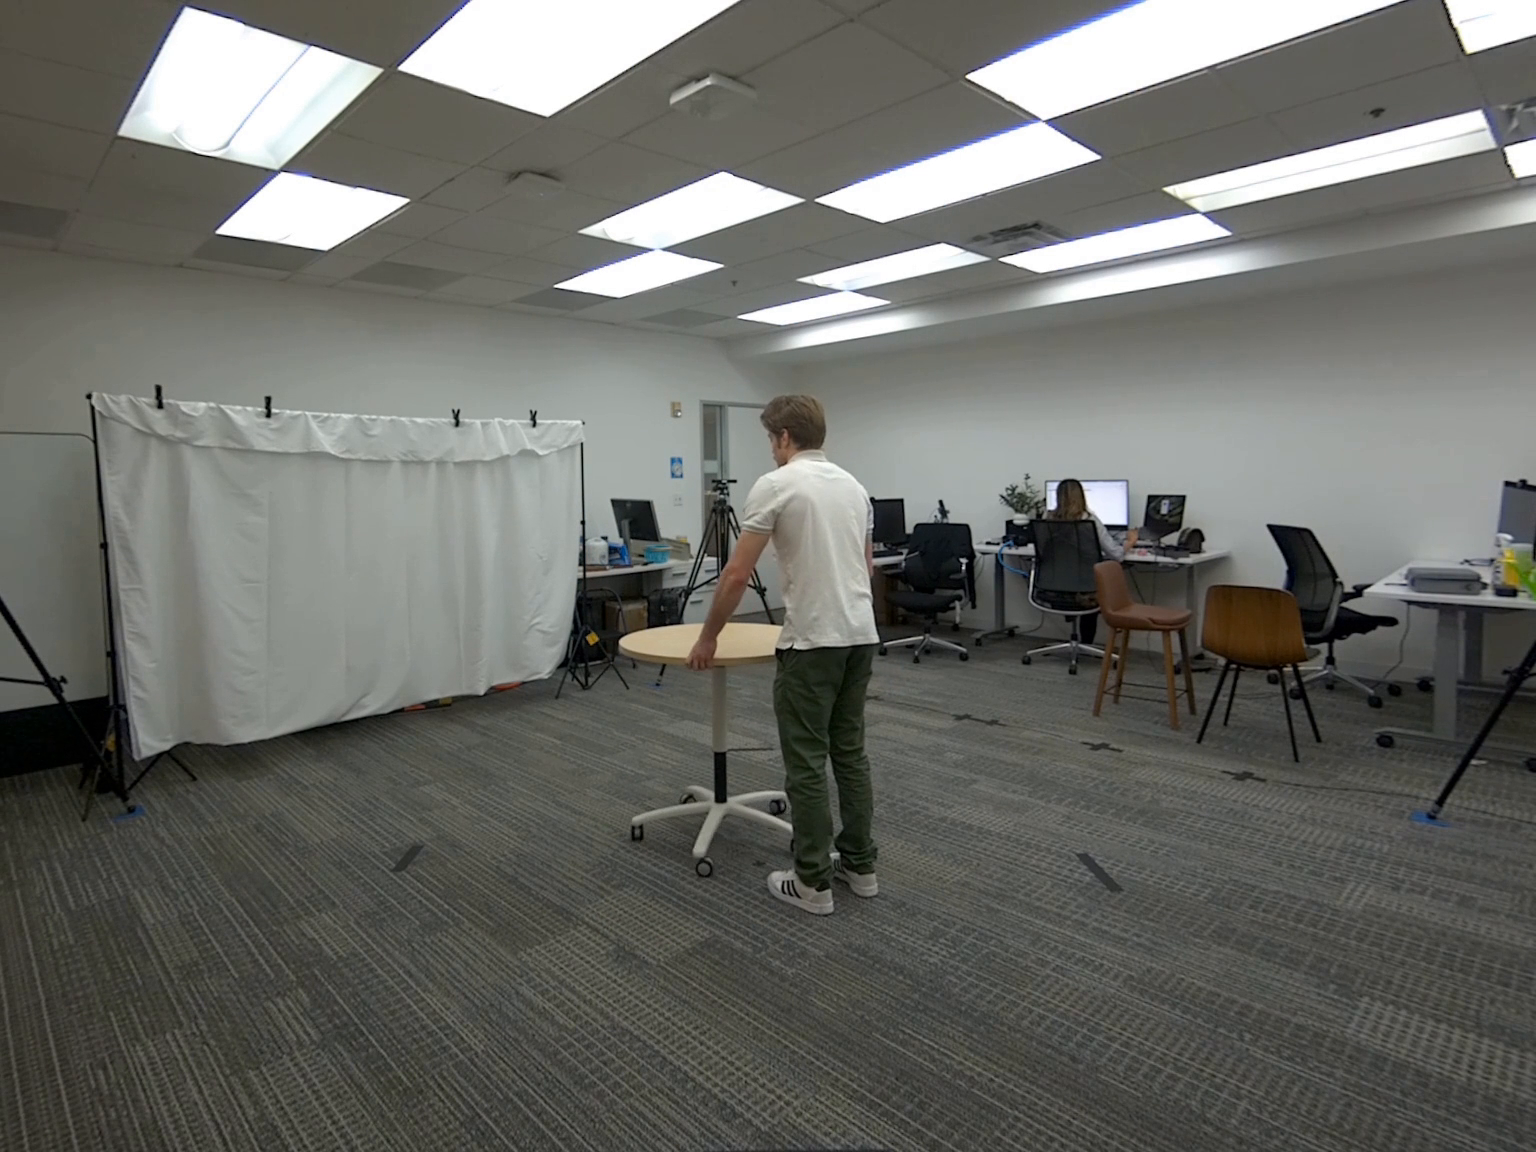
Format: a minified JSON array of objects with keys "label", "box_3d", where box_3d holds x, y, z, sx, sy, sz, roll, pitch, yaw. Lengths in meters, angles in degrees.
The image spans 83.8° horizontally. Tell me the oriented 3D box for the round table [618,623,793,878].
[{"label":"round table","box_3d":[-0.187,0.636,3.331,0.763,0.791,0.767,-1,4,-2]}]
